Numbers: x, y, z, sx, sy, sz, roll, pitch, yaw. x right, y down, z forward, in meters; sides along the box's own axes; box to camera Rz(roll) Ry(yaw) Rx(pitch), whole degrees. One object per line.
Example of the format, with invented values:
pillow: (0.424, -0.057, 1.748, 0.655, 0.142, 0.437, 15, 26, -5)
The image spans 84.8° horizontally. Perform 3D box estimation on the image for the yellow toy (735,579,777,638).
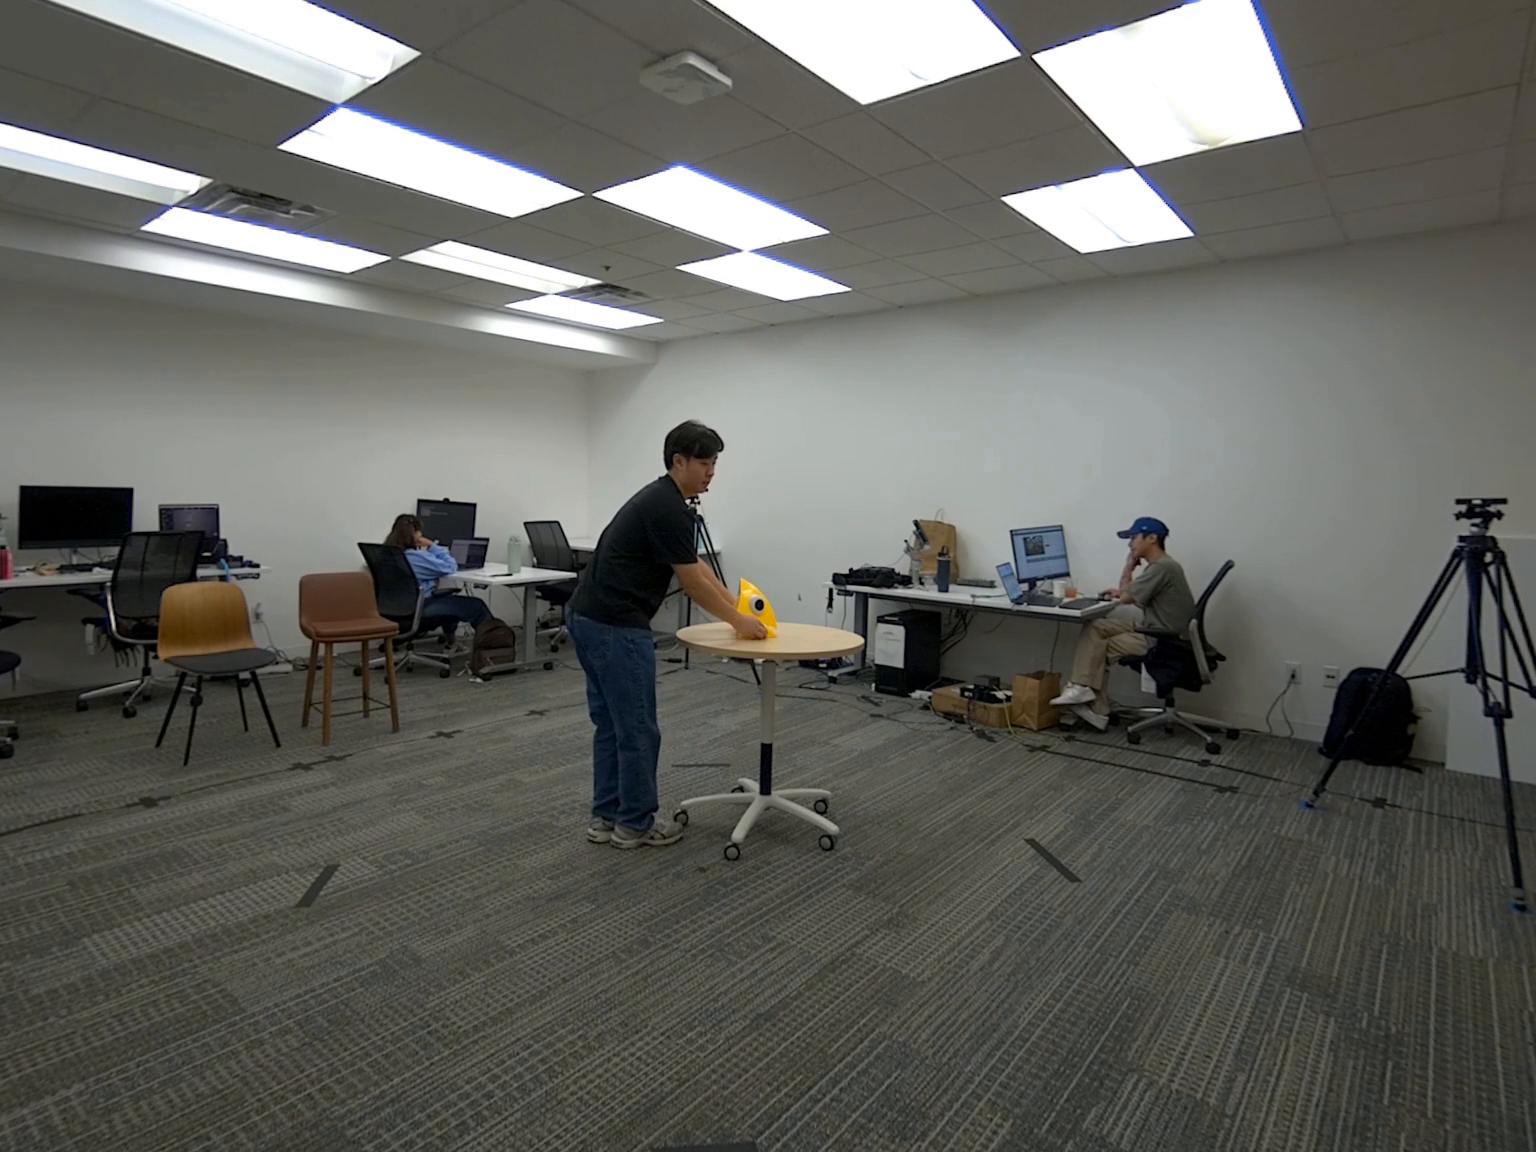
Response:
yellow toy: (-0.063, 0.122, 3.500, 0.192, 0.230, 0.206, 2, 4, -5)
